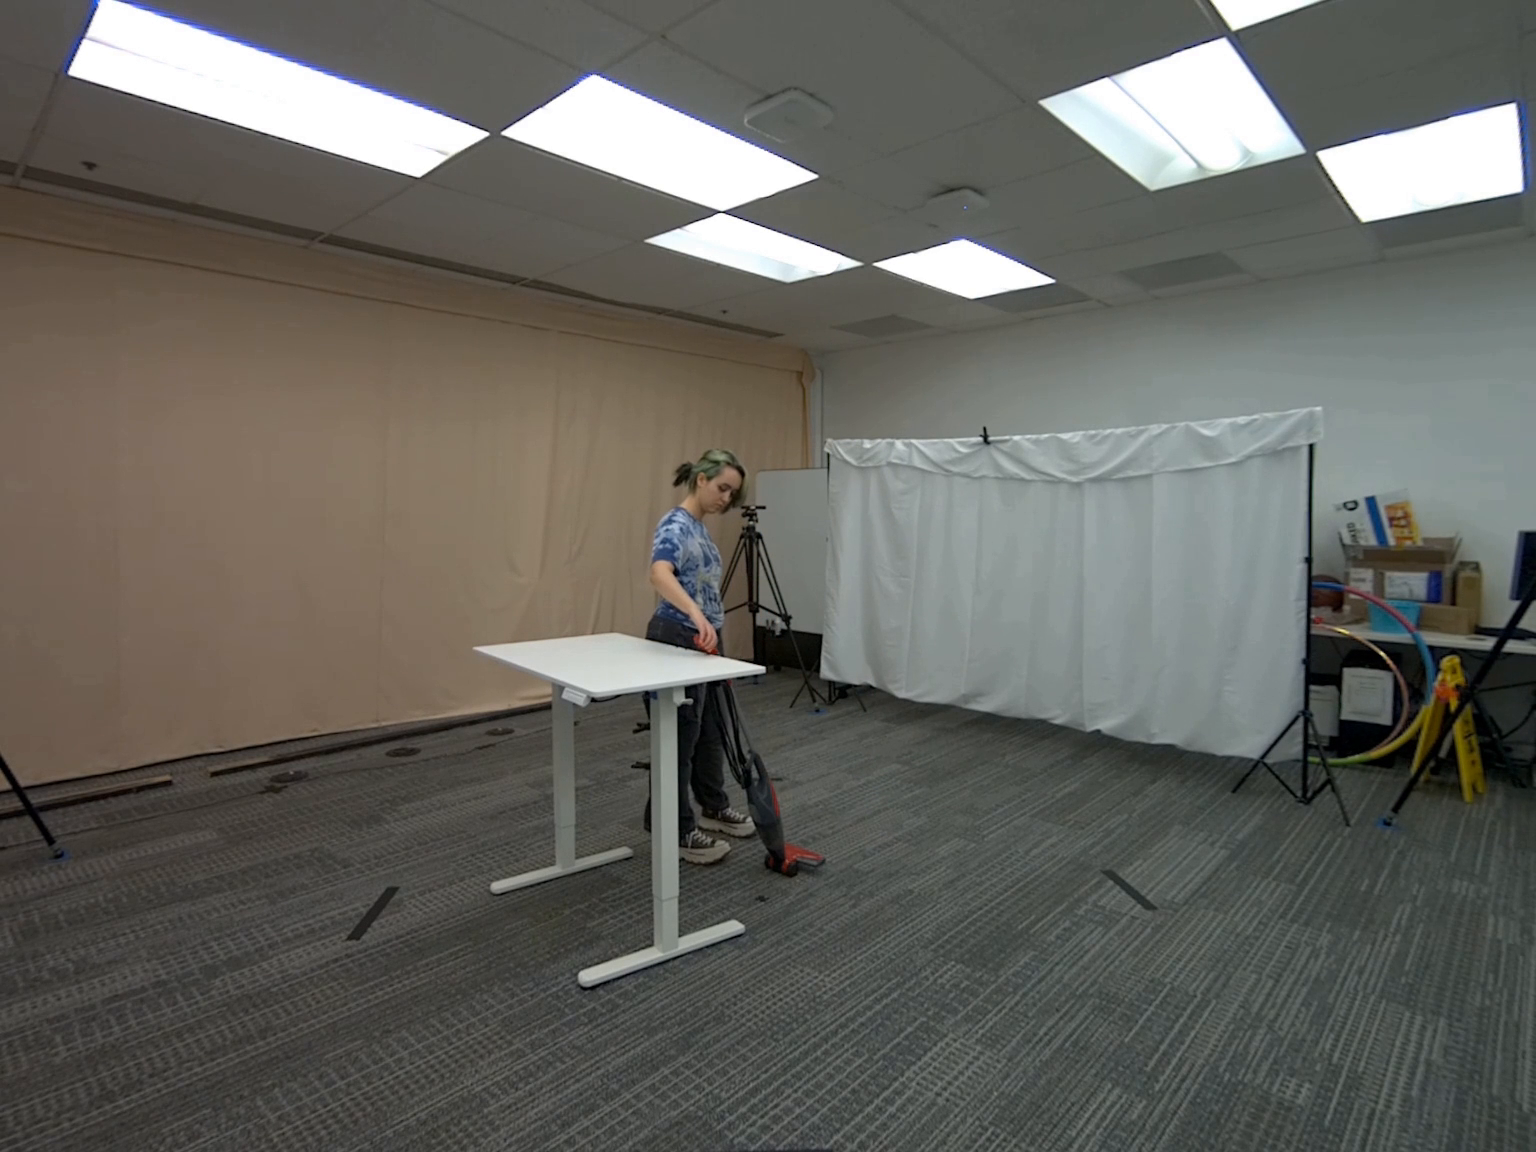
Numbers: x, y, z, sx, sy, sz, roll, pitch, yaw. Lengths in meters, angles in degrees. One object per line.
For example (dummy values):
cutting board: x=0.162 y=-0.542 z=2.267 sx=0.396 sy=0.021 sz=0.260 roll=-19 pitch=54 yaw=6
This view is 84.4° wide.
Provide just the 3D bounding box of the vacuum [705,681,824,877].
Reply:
vacuum: x=-0.077 y=0.660 z=3.044 sx=0.261 sy=1.029 sz=0.142 roll=-1 pitch=29 yaw=40
